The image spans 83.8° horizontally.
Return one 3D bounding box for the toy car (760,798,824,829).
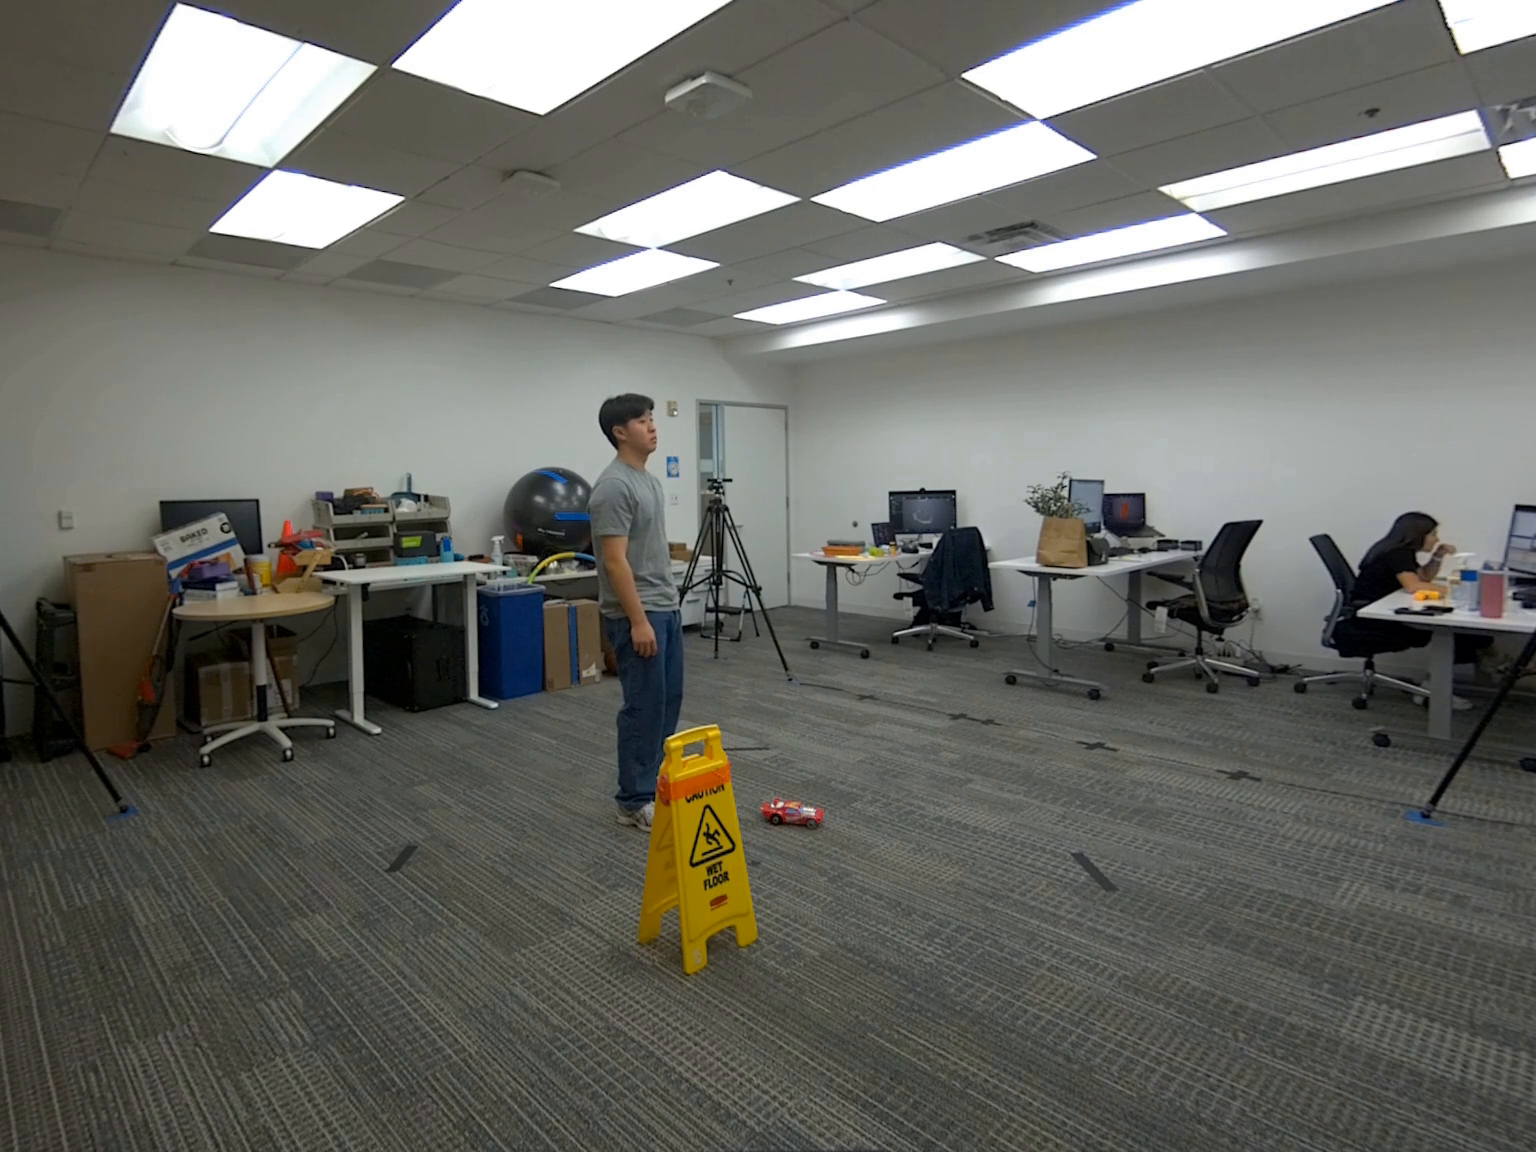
[{"bbox_3d":[0.090,0.962,3.474,0.259,0.083,0.129,13,8,14],"label":"toy car"}]
